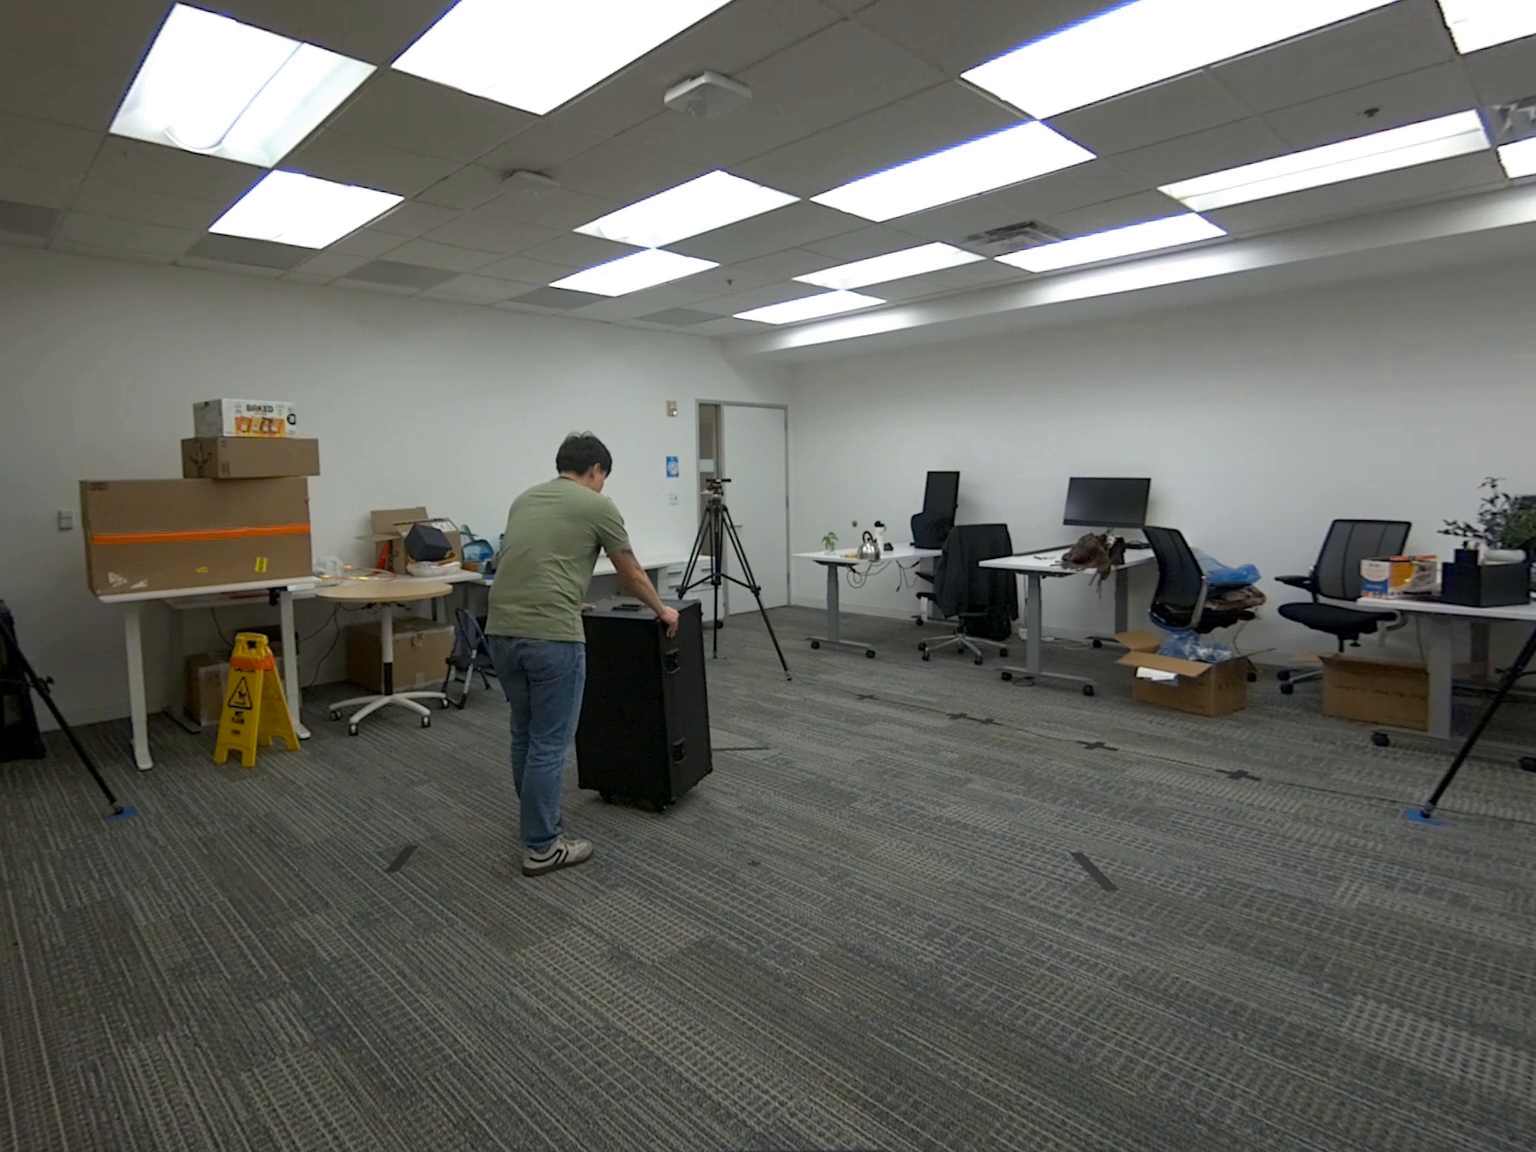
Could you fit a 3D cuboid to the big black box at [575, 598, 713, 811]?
[{"bbox_3d":[-0.554,0.546,3.739,0.534,0.856,0.389,1,8,28],"label":"big black box"}]
